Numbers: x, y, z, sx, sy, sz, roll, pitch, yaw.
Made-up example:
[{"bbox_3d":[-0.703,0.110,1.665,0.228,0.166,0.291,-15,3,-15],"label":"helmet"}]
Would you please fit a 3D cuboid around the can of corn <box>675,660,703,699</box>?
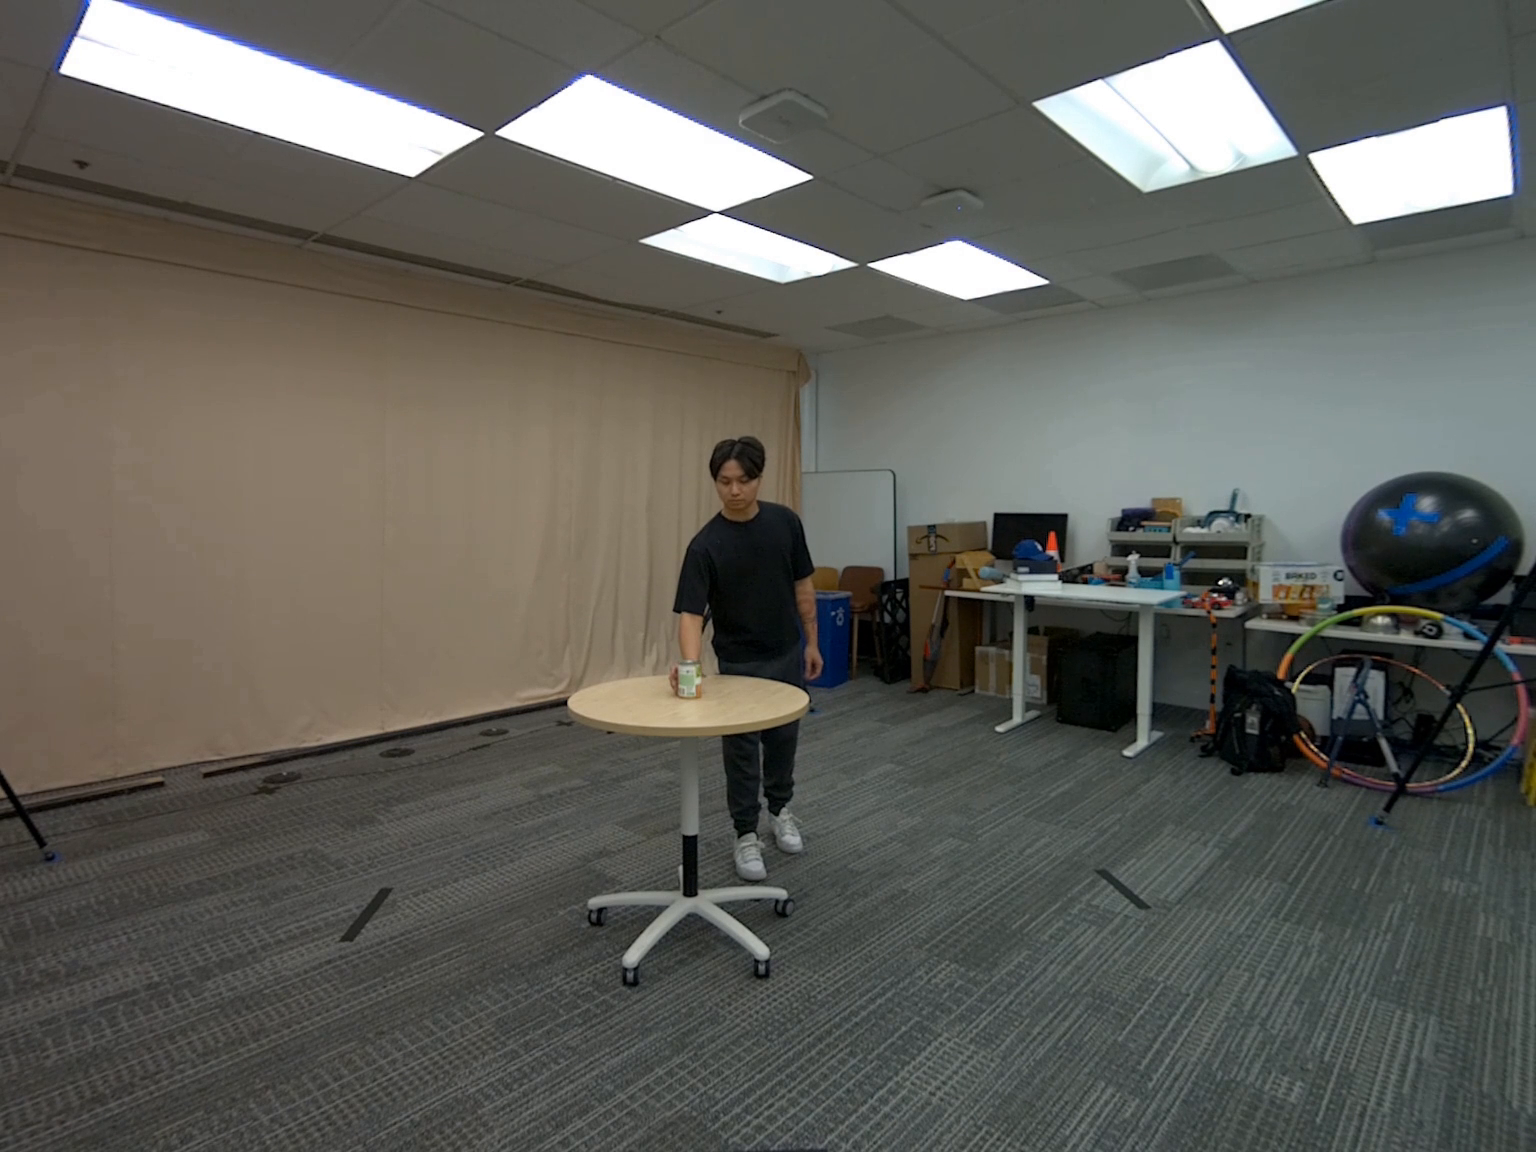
[{"bbox_3d":[-0.243,0.330,2.689,0.074,0.111,0.074,-3,3,-2],"label":"can of corn"}]
